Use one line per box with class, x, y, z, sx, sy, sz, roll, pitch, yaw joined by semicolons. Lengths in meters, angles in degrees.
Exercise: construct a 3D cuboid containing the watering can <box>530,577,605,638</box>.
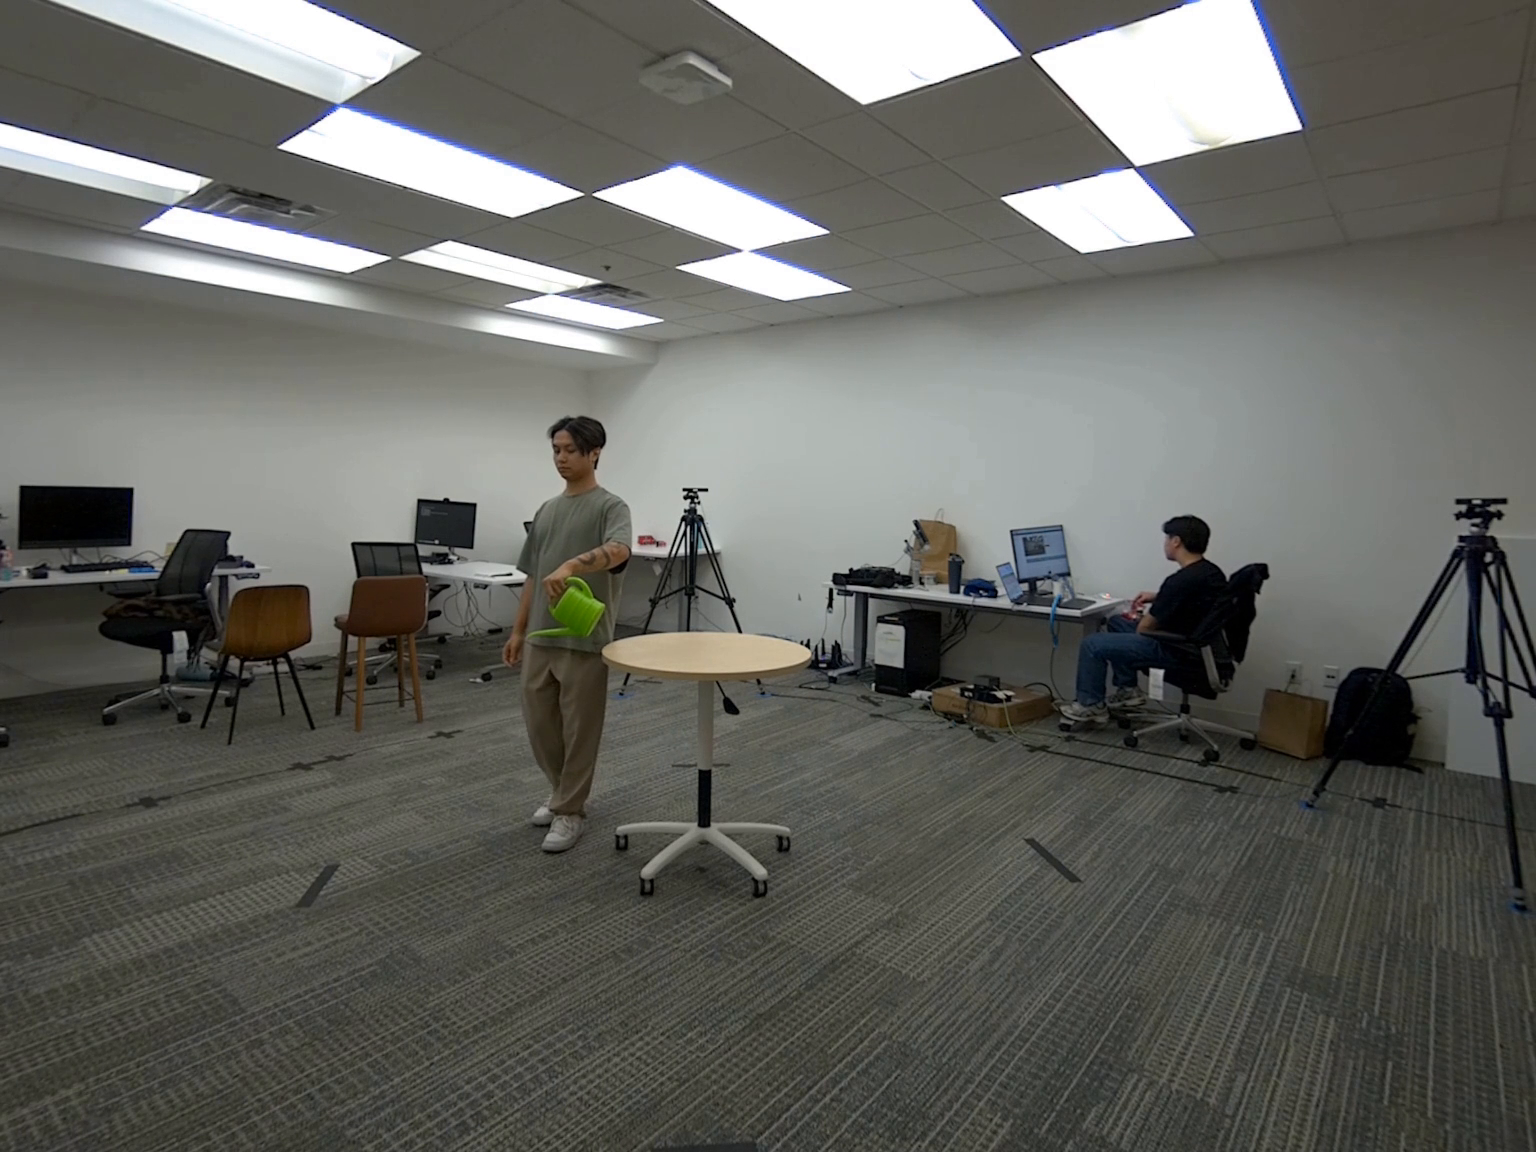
watering can;-0.695;0.138;2.890;0.177;0.277;0.098;34;22;1
